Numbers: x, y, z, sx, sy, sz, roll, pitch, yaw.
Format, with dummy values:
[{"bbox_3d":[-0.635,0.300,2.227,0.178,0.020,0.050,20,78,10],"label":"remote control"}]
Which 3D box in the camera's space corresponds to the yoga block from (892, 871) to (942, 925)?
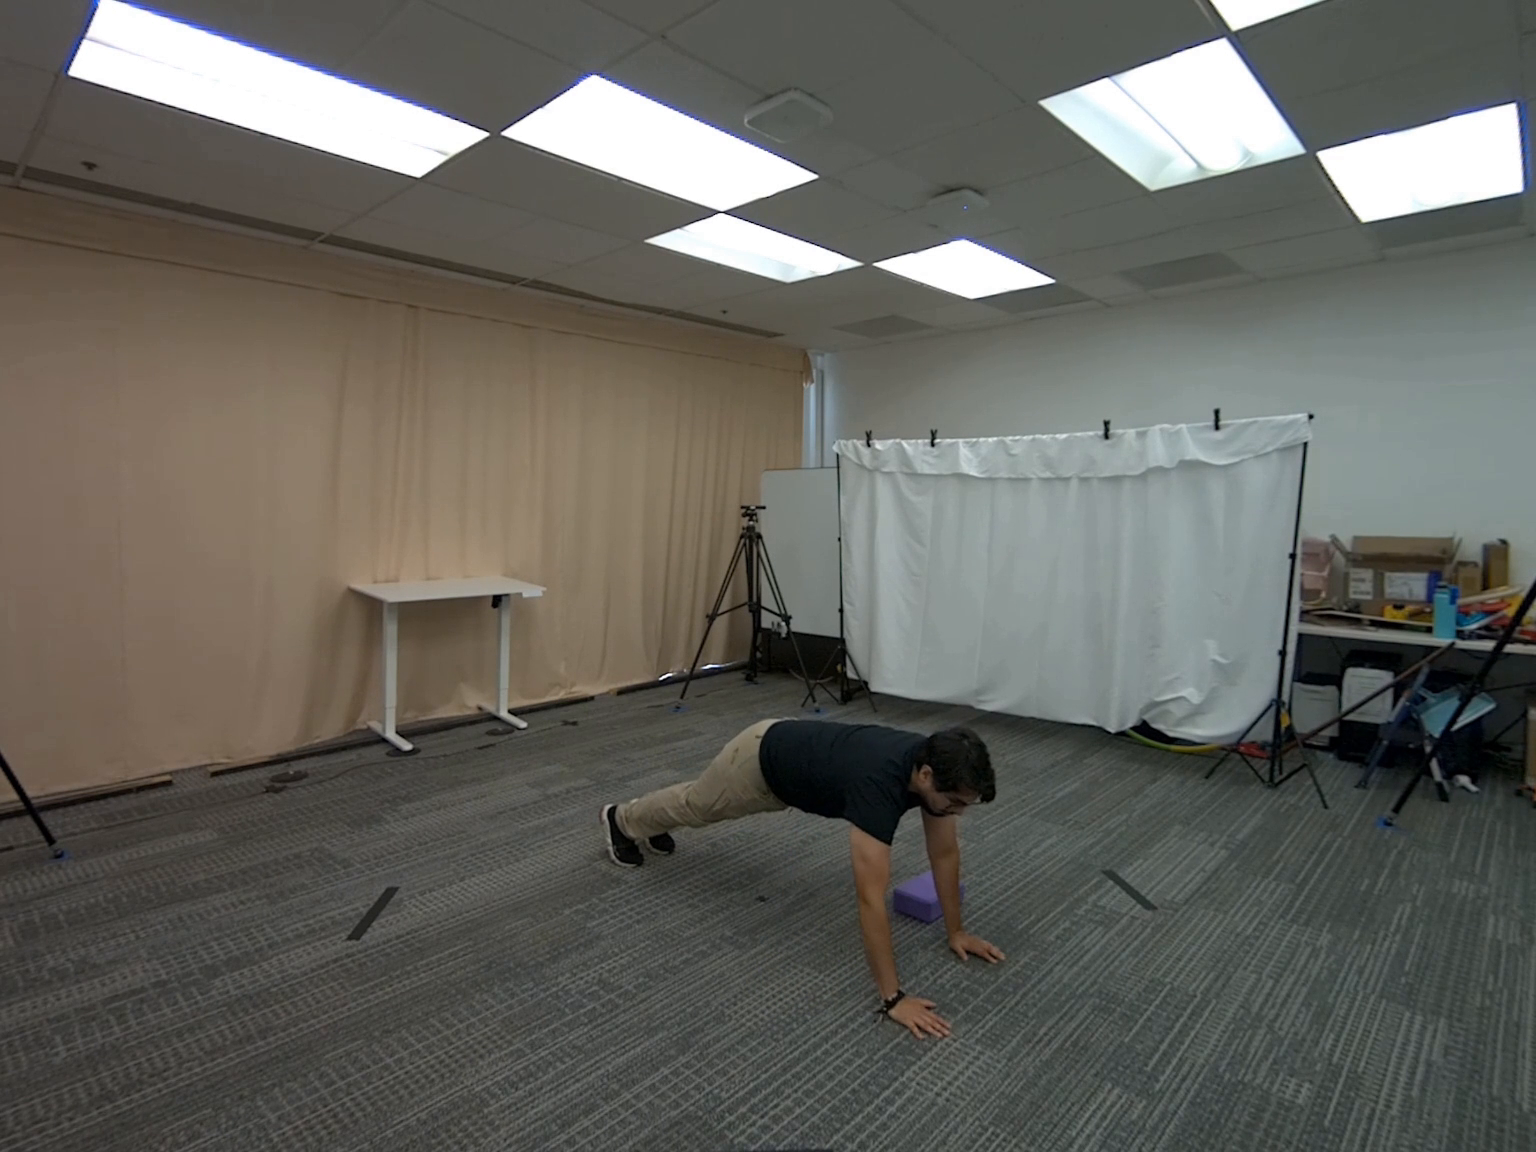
[{"bbox_3d":[0.563,1.105,2.913,0.154,0.076,0.222,4,7,45],"label":"yoga block"}]
